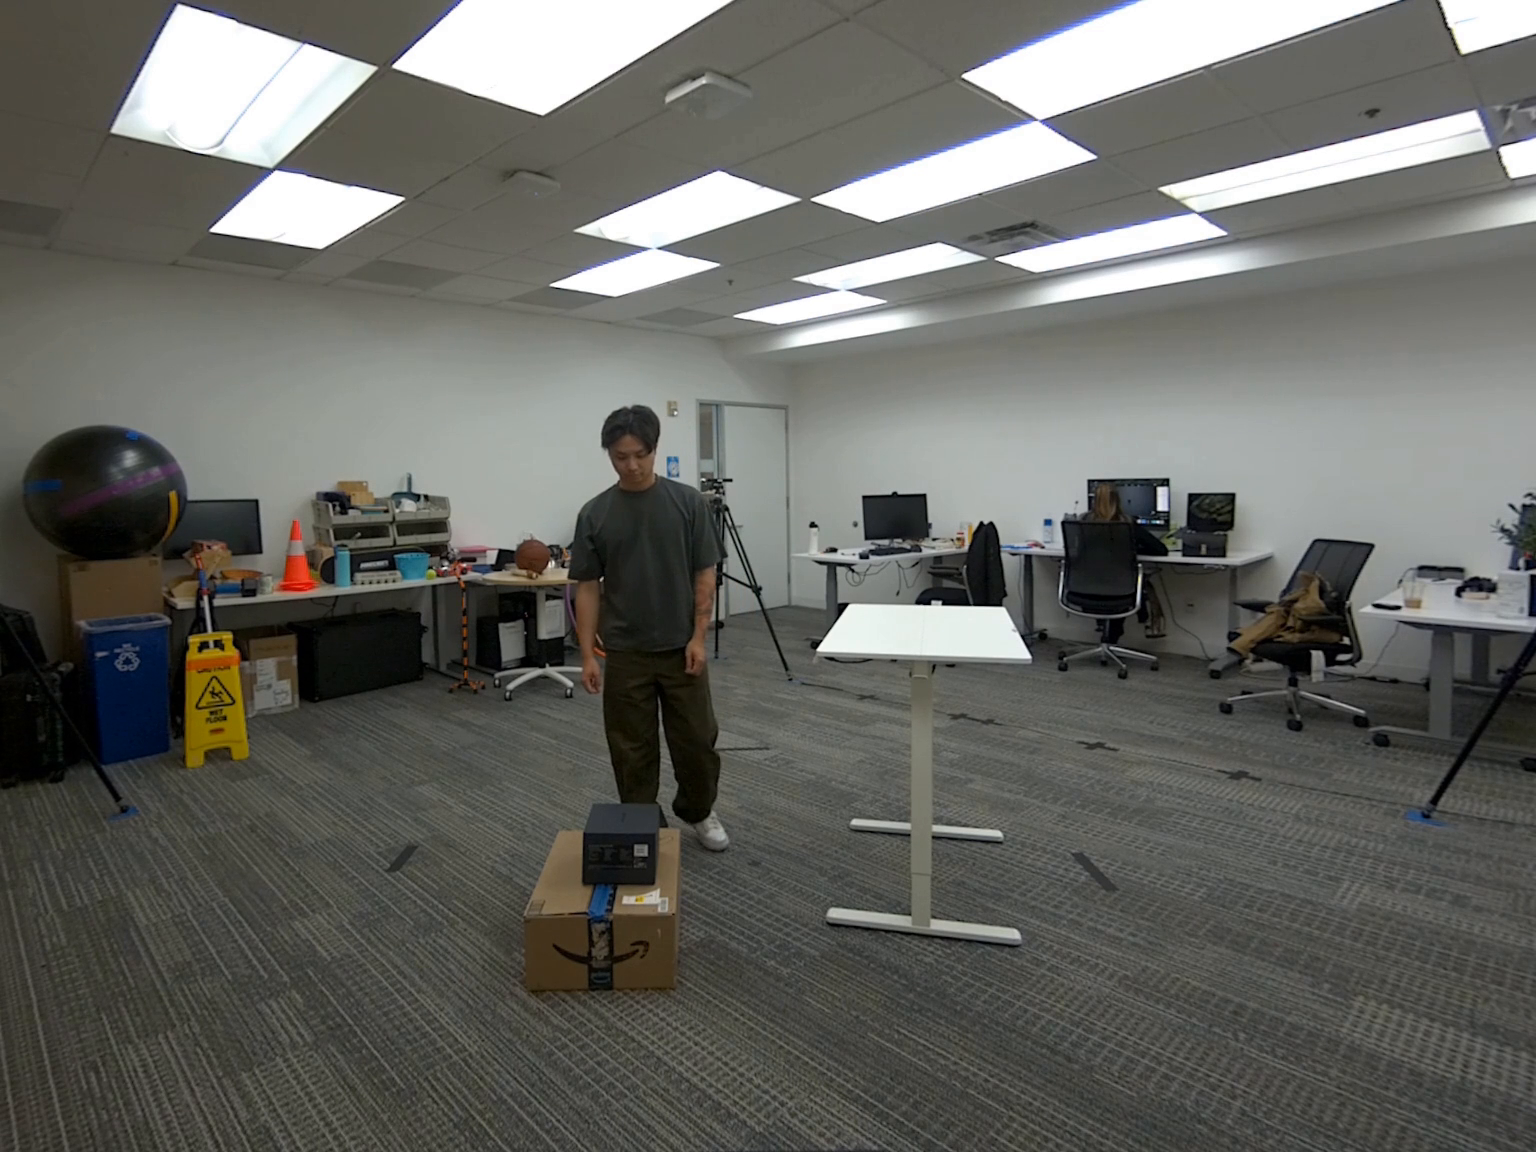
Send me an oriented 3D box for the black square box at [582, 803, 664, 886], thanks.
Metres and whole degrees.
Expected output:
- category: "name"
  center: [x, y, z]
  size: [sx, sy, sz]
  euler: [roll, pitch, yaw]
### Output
- category: "black square box"
  center: [-0.448, 0.812, 2.610]
  size: [0.216, 0.155, 0.230]
  euler: [0, 6, -4]
